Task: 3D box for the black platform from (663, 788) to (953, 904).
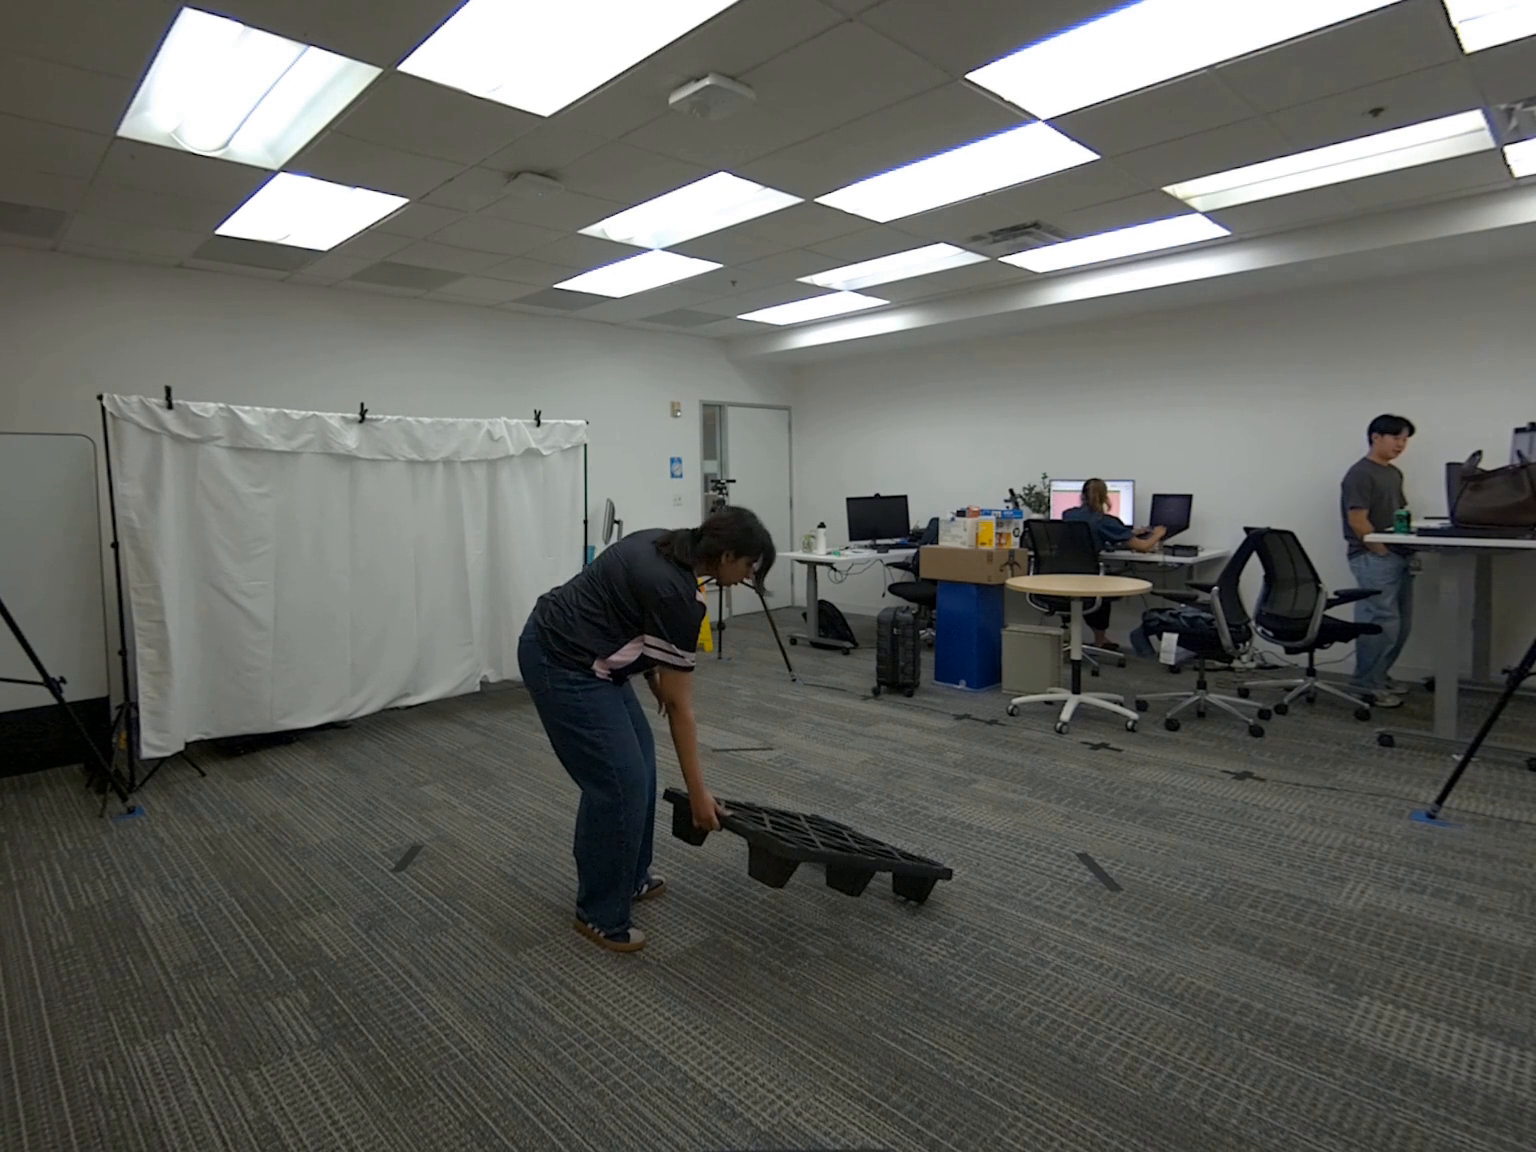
[{"bbox_3d":[0.128,0.890,2.764,0.776,0.144,0.624,23,-10,-40],"label":"black platform"}]
